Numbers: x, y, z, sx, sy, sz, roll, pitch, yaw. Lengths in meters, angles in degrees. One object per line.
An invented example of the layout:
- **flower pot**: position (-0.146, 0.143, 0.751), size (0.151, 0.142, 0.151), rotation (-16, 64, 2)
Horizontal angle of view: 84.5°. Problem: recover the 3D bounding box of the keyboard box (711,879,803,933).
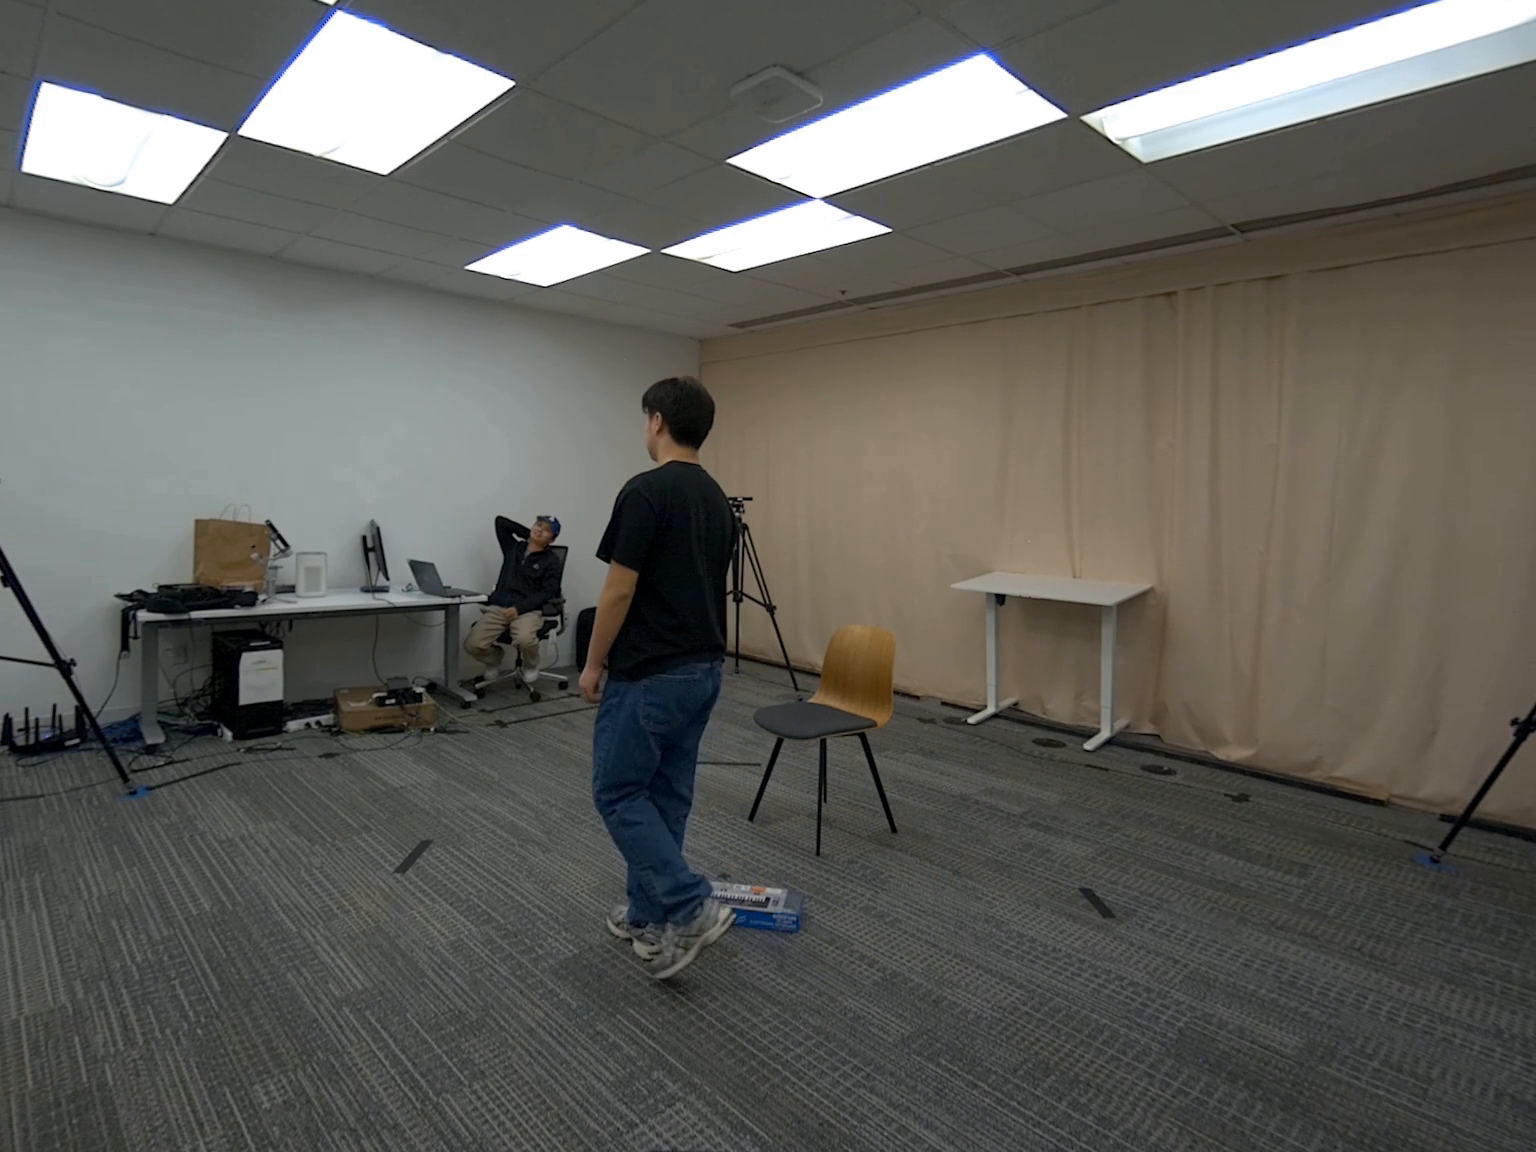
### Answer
- **keyboard box**: position (-0.111, 1.106, 2.827), size (0.441, 0.059, 0.175), rotation (2, 4, 11)
